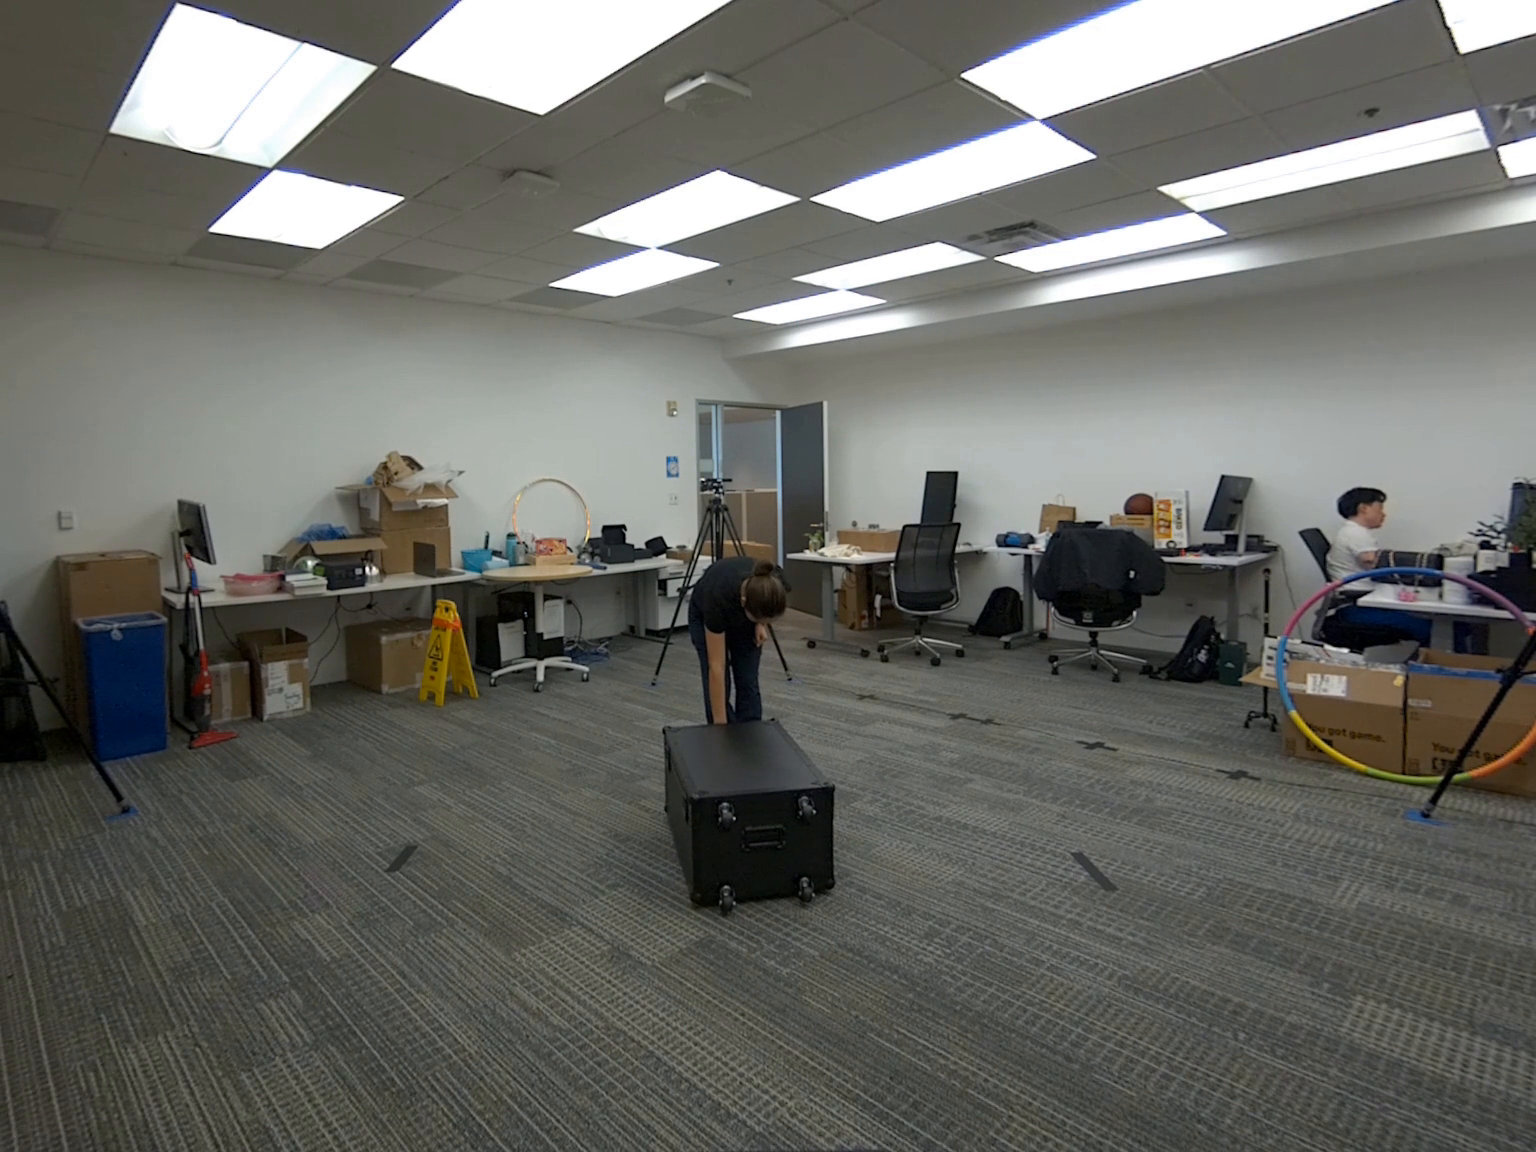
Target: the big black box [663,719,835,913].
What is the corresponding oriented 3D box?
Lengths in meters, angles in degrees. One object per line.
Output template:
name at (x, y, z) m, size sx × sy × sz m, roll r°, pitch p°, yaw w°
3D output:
big black box at (-0.099, 0.845, 3.164) m, size 0.515 × 0.394 × 0.875 m, roll -3°, pitch 6°, yaw -13°
